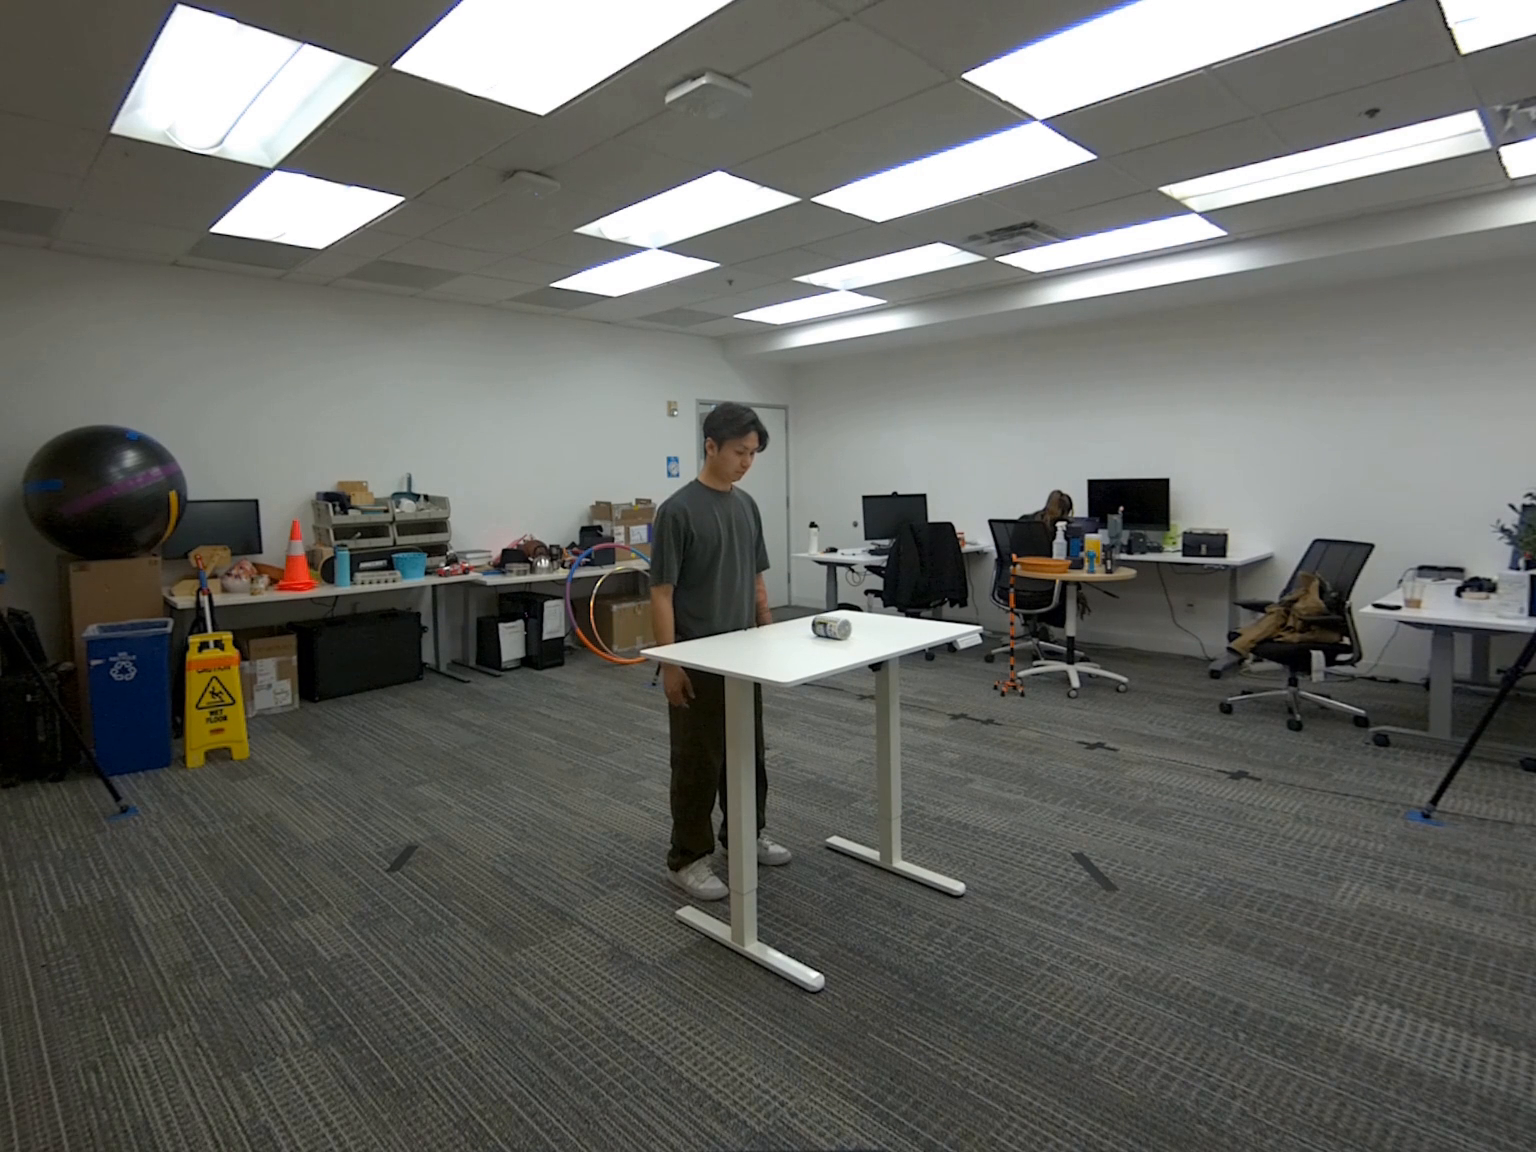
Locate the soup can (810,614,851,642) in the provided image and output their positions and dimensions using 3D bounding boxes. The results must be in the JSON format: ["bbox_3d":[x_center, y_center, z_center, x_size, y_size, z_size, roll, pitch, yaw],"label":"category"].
[{"bbox_3d":[0.199,0.165,2.742,0.125,0.067,0.065,5,7,44],"label":"soup can"}]
